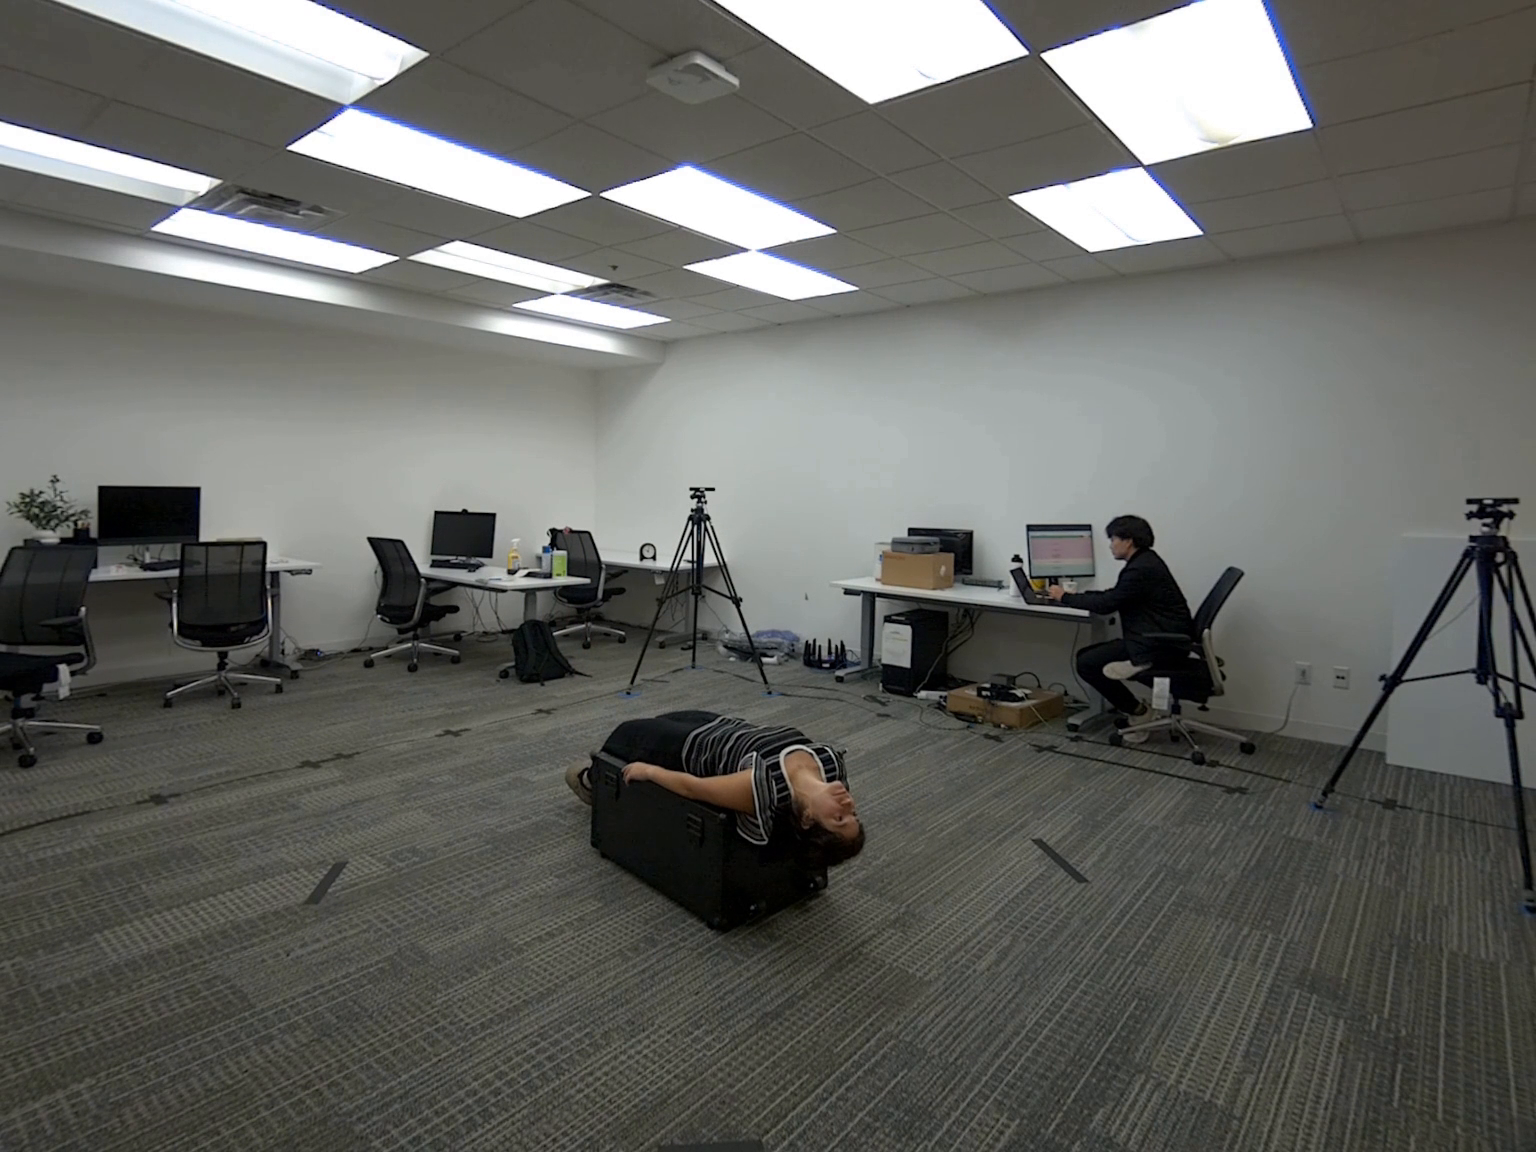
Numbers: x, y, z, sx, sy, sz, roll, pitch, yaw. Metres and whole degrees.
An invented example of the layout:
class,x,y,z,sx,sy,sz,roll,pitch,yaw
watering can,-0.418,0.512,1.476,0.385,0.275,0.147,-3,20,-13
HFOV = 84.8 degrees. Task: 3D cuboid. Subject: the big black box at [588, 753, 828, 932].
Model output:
class,x,y,z,sx,sy,sz,roll,pitch,yaw
big black box,-0.215,0.890,3.045,0.505,0.395,0.891,0,4,-41
